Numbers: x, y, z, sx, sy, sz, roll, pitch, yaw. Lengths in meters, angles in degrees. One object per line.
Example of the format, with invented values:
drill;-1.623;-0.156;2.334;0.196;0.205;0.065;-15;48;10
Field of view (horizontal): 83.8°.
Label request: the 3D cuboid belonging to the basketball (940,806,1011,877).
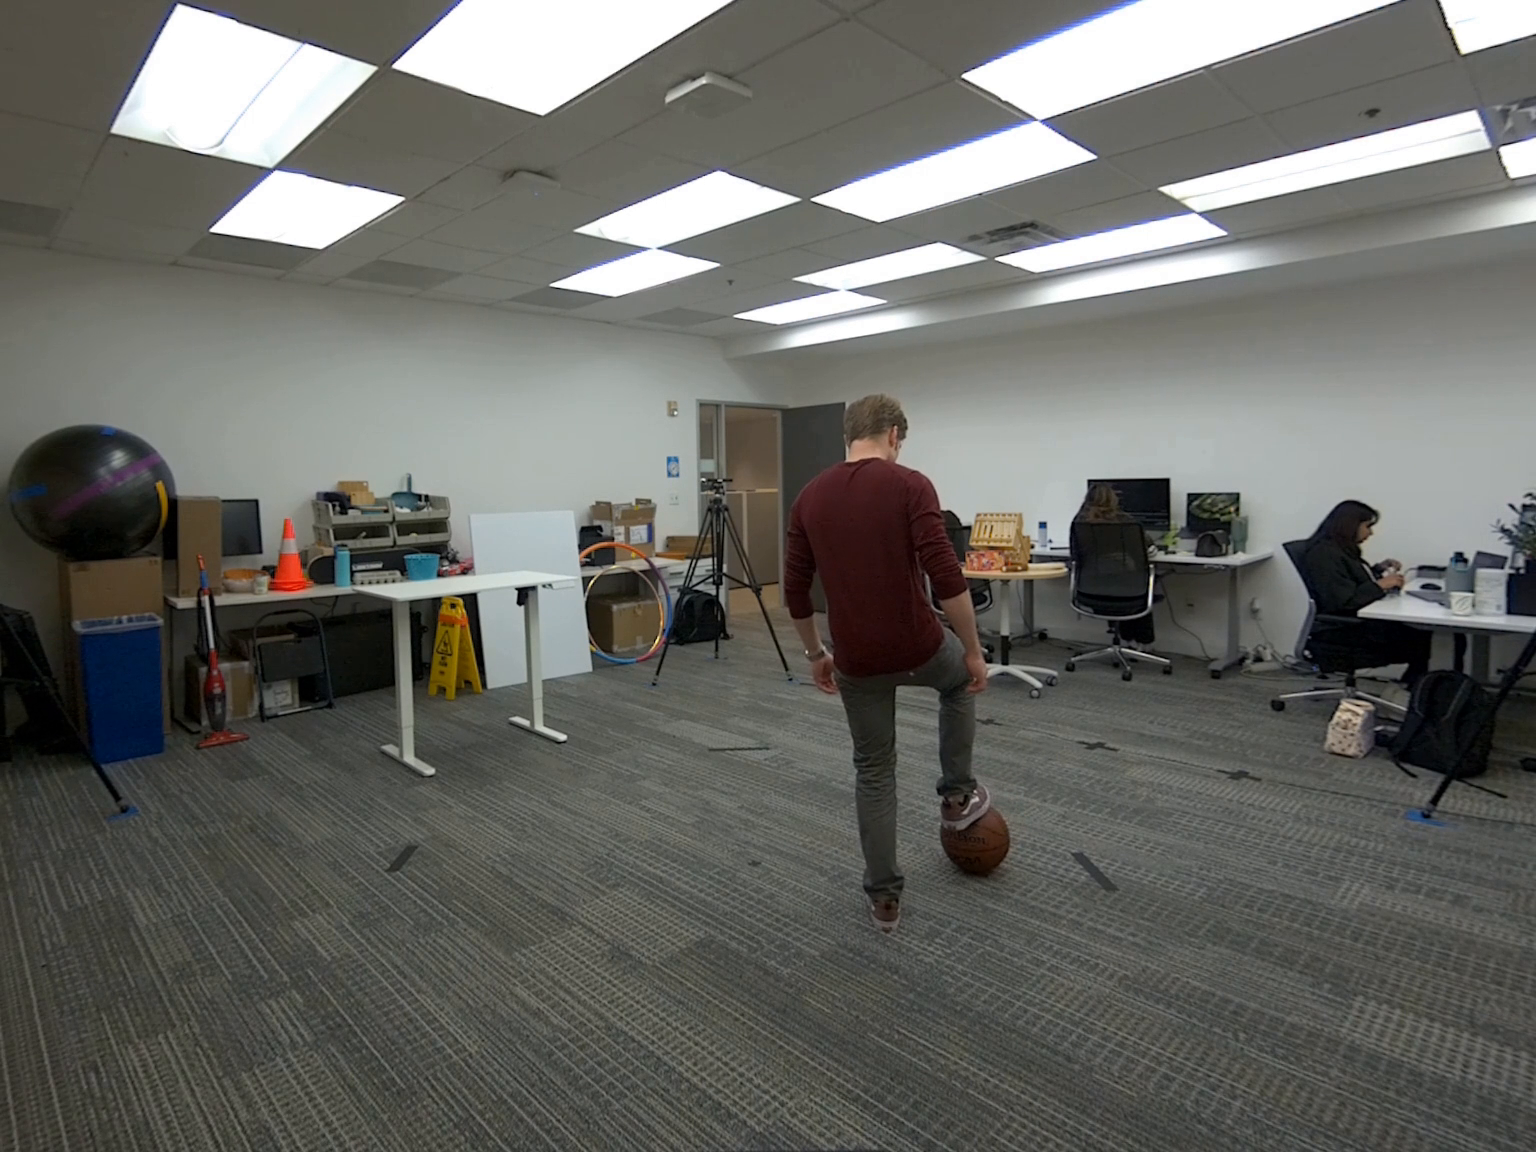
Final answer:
basketball;0.743;0.922;3.032;0.236;0.235;0.237;-1;5;-2
